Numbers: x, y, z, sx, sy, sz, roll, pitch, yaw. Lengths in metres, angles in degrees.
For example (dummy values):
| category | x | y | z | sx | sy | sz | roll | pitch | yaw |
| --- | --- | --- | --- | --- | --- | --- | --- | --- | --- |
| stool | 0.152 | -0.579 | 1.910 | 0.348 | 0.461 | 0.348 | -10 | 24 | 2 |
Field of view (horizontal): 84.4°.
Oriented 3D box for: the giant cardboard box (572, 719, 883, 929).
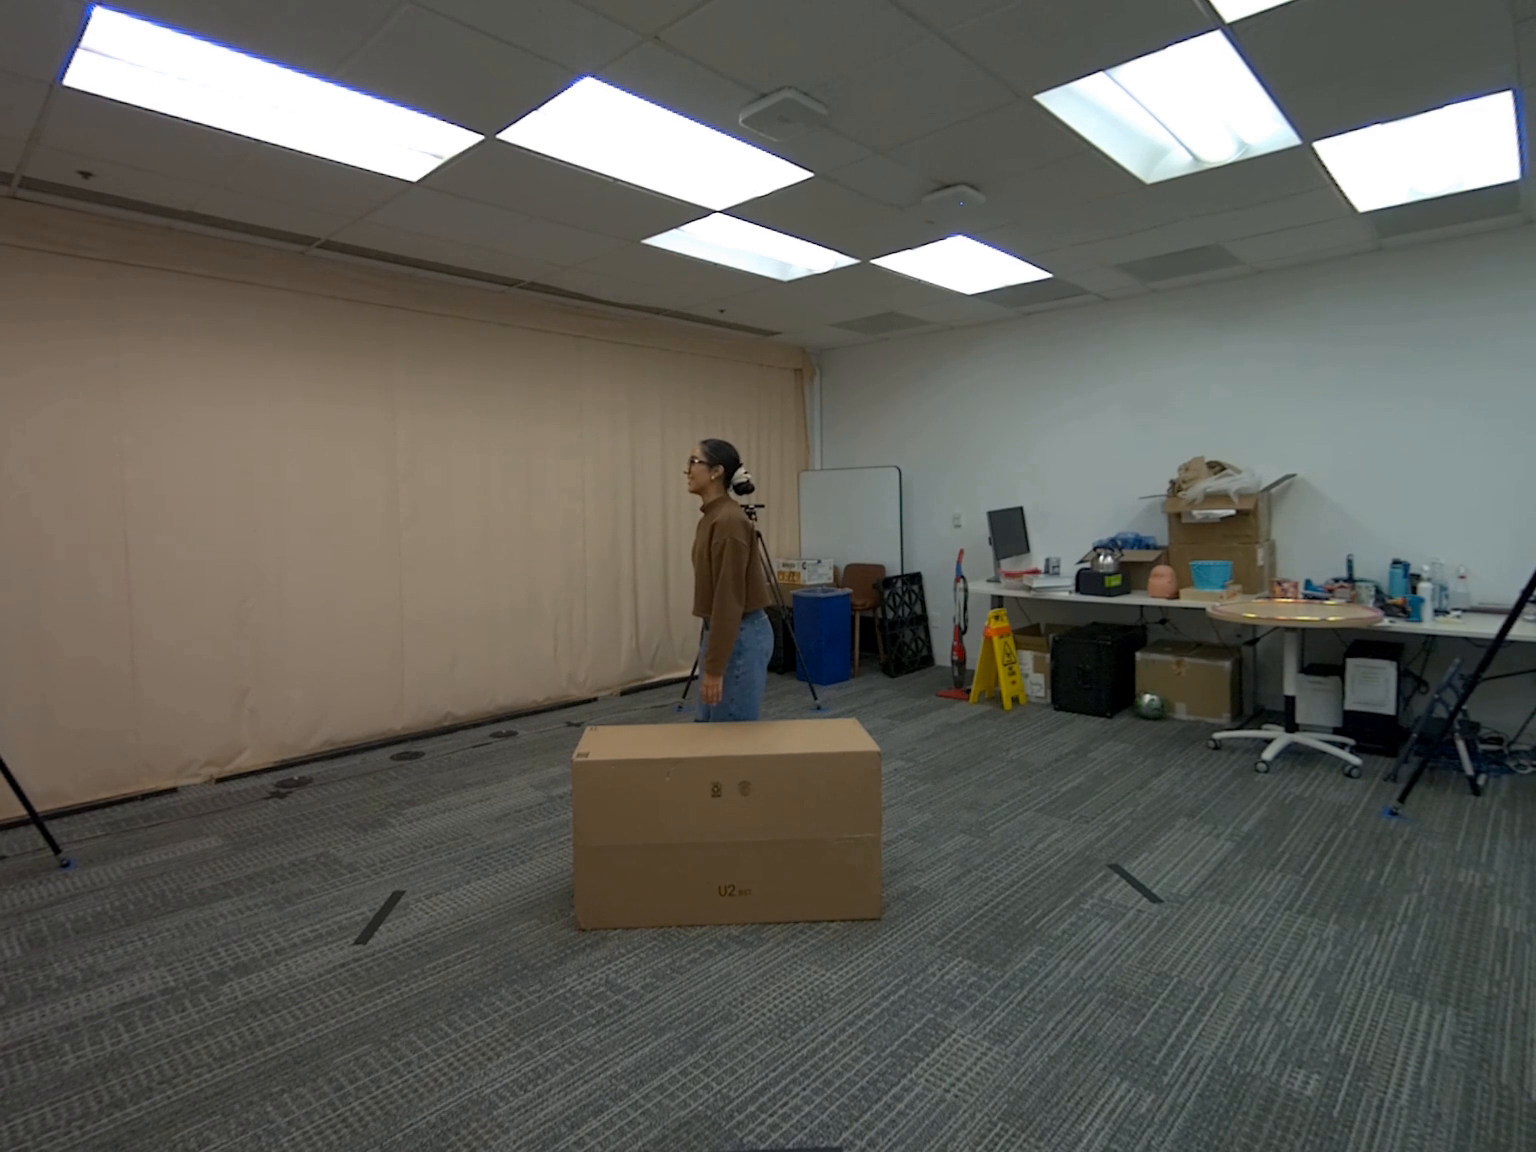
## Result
| category | x | y | z | sx | sy | sz | roll | pitch | yaw |
| --- | --- | --- | --- | --- | --- | --- | --- | --- | --- |
| giant cardboard box | -0.151 | 0.857 | 2.988 | 1.025 | 0.582 | 0.449 | -1 | 5 | -2 |
